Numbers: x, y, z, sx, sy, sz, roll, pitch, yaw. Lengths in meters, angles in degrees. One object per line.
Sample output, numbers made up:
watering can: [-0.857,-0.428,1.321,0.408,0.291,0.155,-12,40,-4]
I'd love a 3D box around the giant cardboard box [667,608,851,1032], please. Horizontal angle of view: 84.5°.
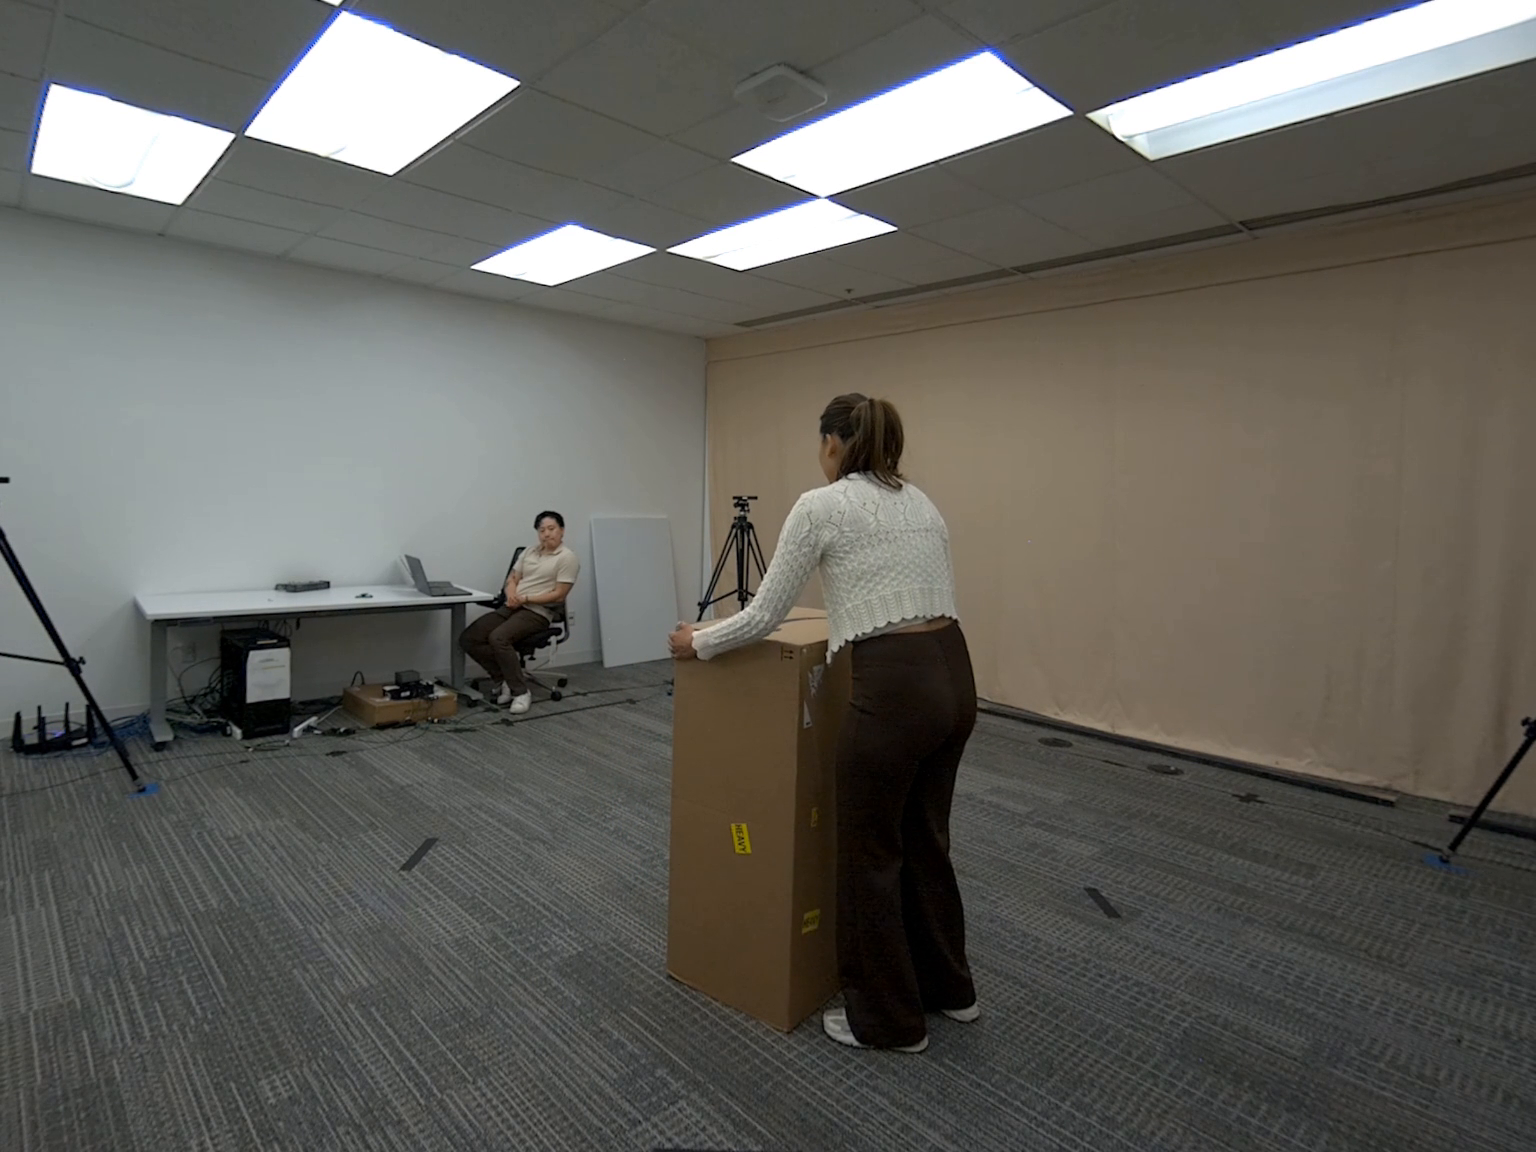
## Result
giant cardboard box: [0.048,0.652,2.510,0.436,1.023,0.565,4,5,36]
